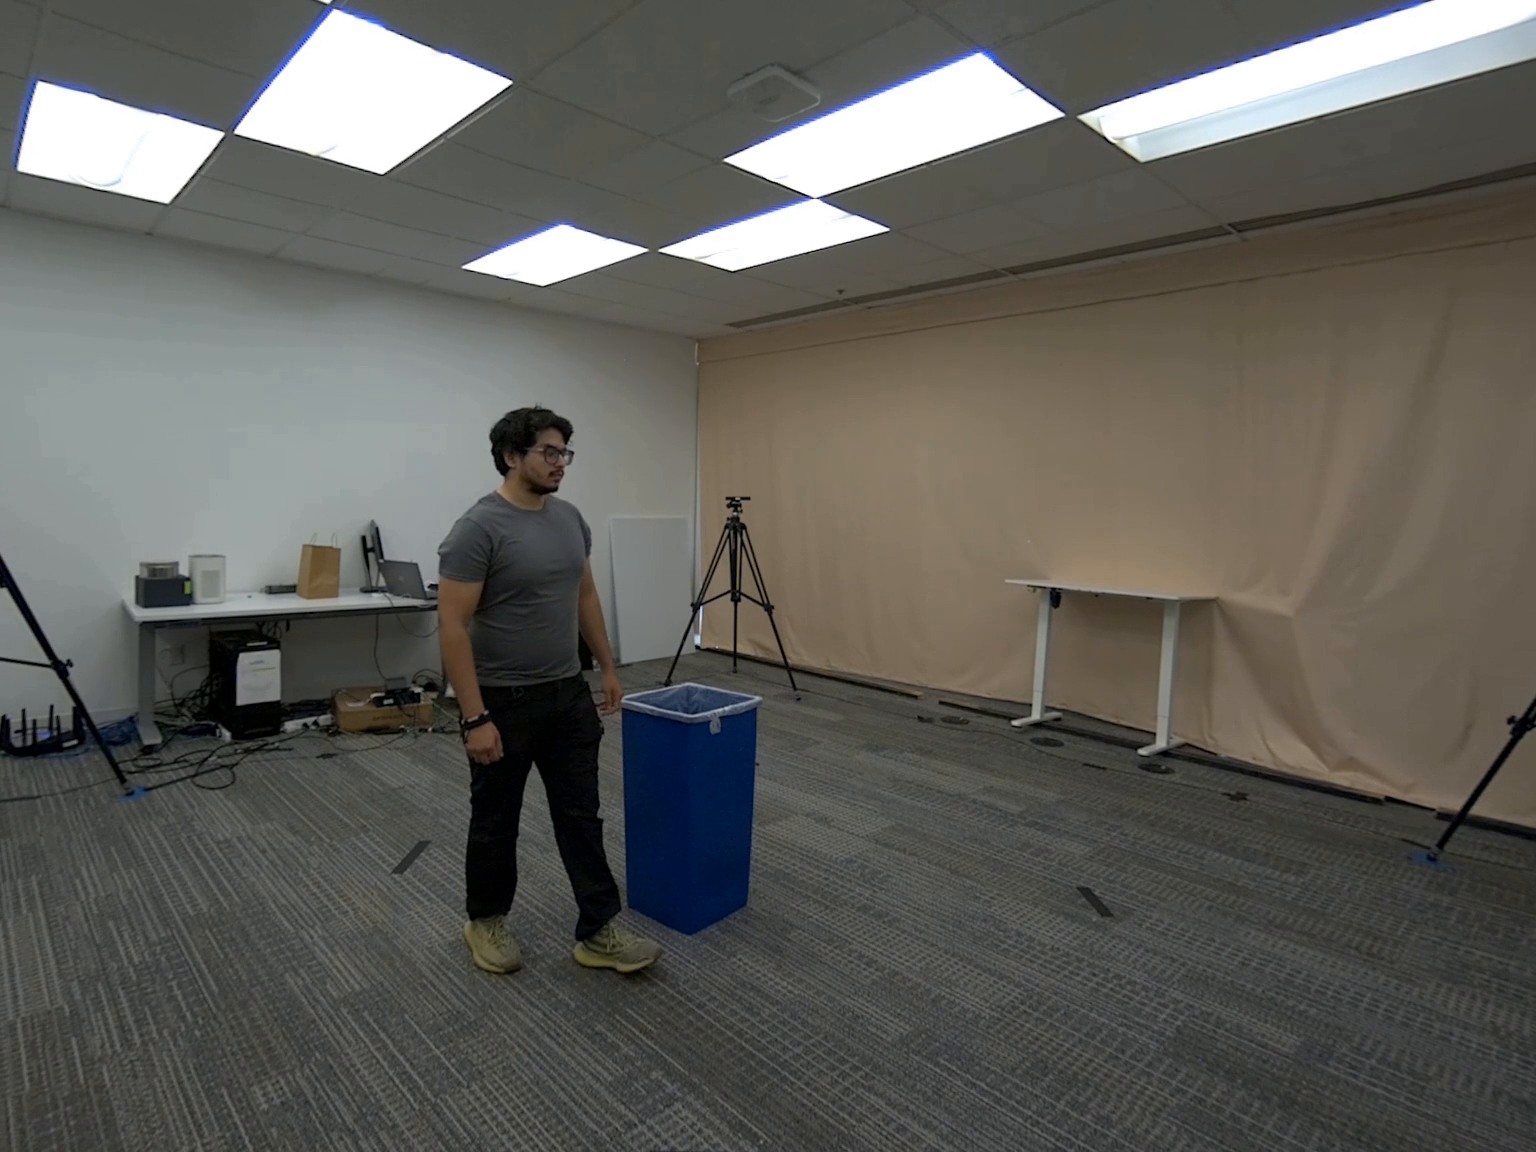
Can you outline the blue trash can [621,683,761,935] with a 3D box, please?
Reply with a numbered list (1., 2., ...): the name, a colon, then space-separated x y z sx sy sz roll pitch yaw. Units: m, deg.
1. blue trash can: -0.279 0.768 2.862 0.383 0.712 0.369 4 4 39
